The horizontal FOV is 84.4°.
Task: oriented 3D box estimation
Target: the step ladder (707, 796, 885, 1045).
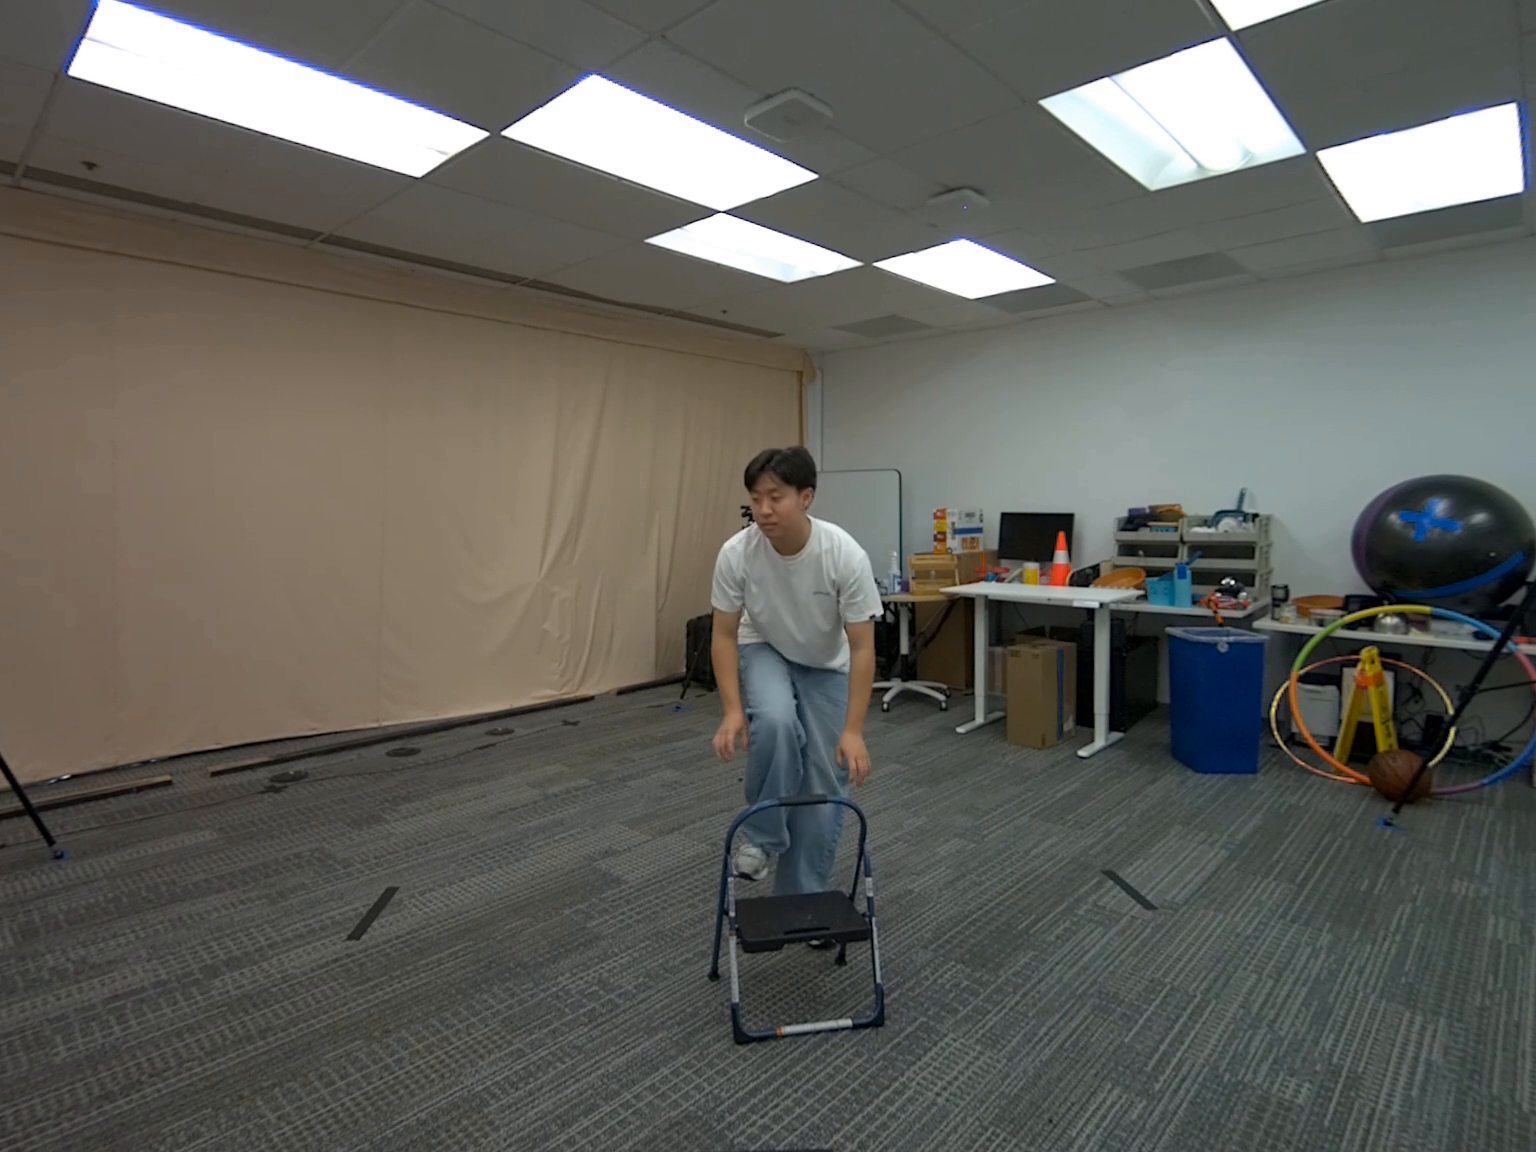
[{"bbox_3d":[0.068,0.893,2.362,0.425,0.605,0.355,-2,3,-13],"label":"step ladder"}]
